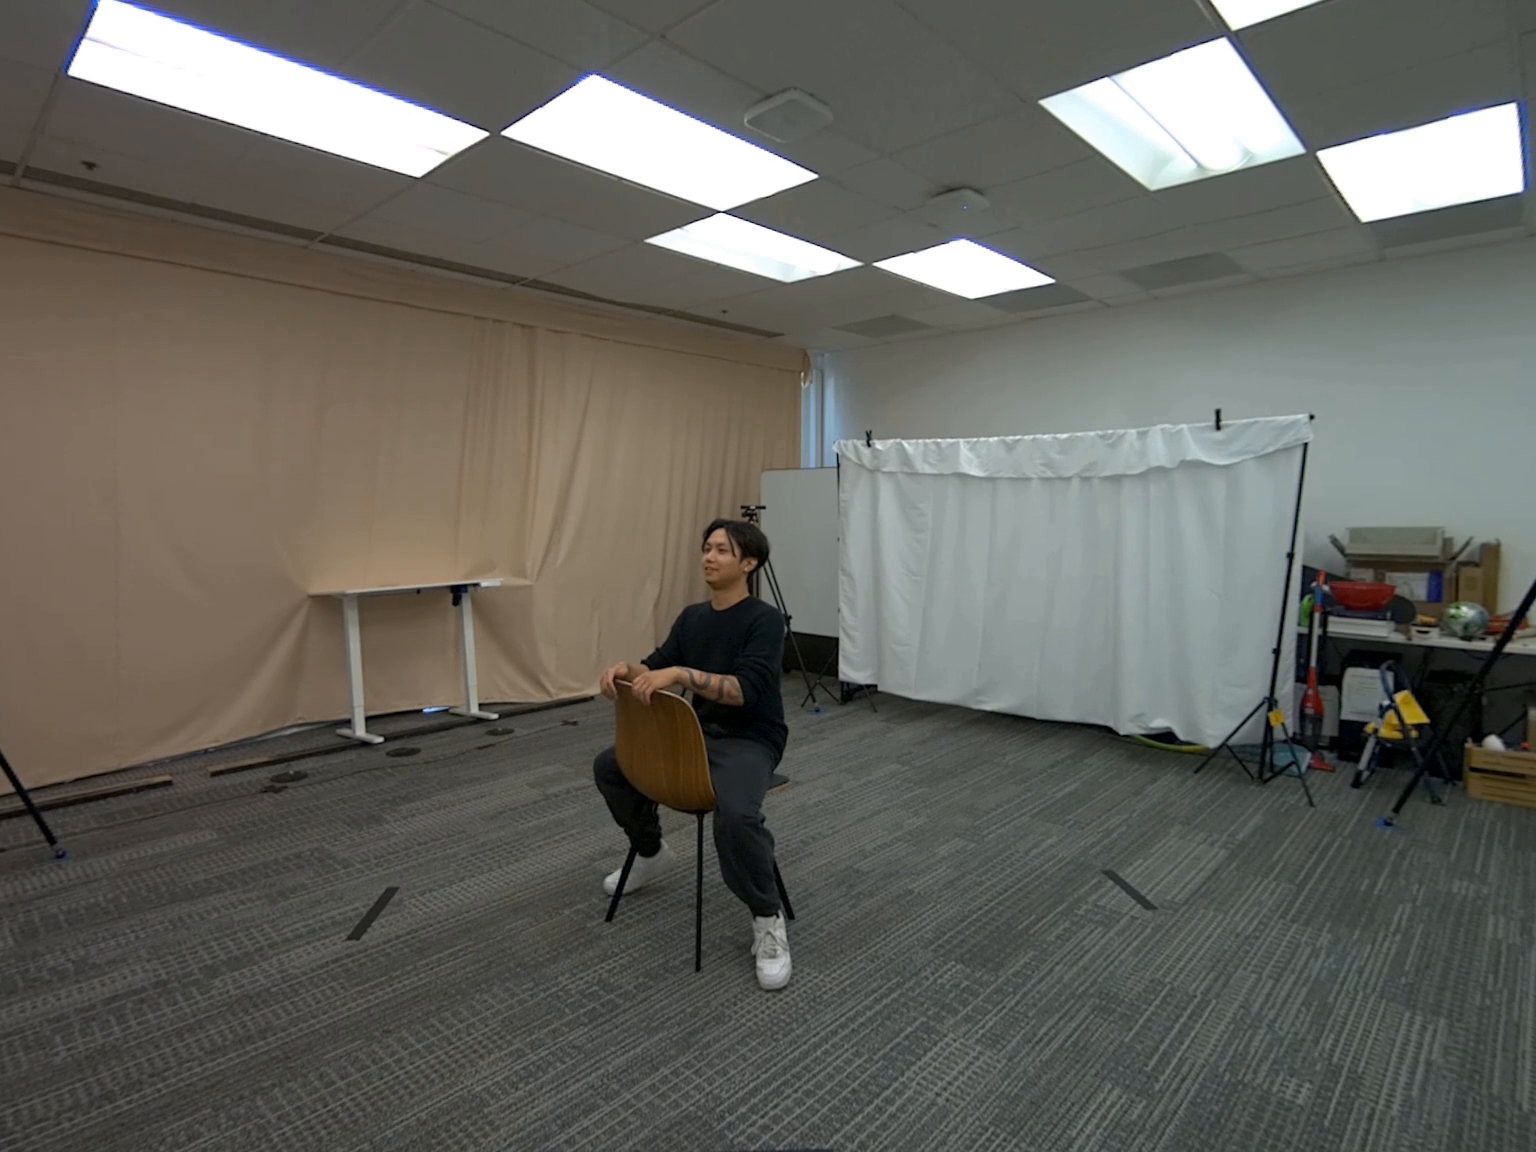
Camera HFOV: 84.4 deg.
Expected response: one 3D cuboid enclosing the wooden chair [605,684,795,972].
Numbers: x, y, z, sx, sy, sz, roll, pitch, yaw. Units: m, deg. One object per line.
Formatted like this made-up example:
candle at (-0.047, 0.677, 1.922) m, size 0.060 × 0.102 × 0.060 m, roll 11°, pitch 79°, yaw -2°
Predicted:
wooden chair at (-0.218, 0.734, 2.813) m, size 0.494 × 0.874 × 0.508 m, roll 3°, pitch 8°, yaw 43°
